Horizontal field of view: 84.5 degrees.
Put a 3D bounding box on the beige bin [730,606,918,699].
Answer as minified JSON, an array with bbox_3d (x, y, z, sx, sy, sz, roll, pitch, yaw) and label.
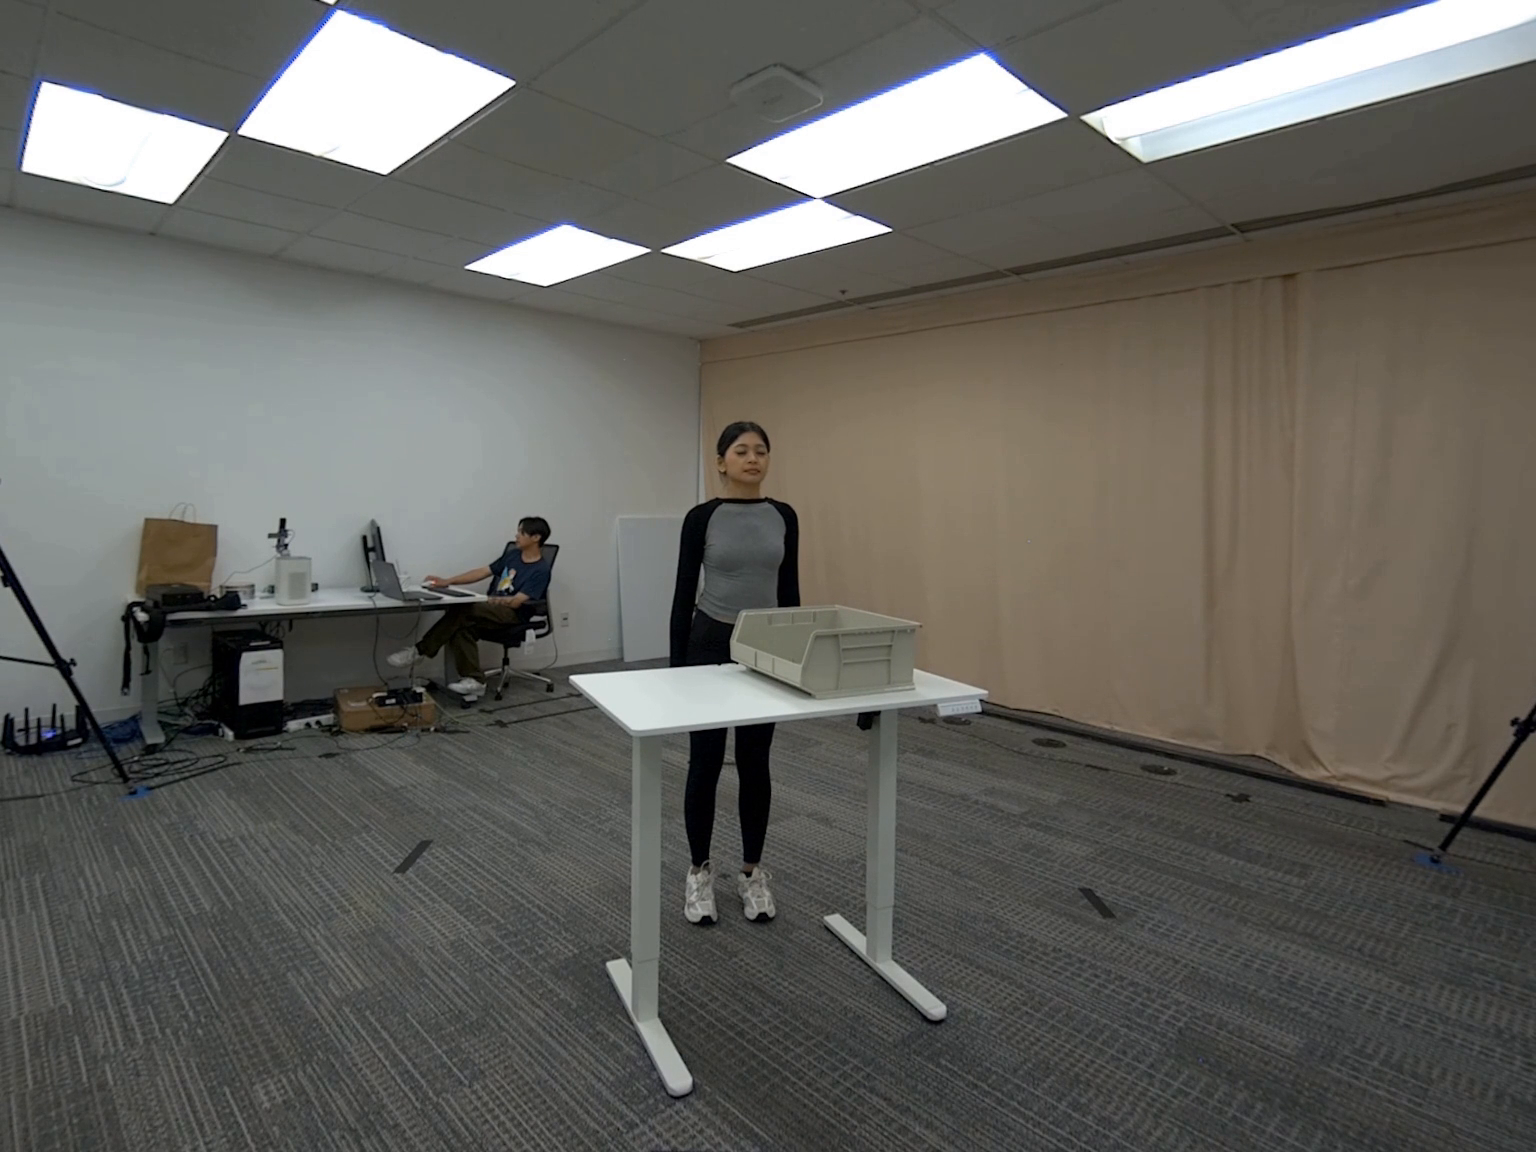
[{"bbox_3d":[0.148,0.212,2.378,0.370,0.188,0.431,-1,5,-27],"label":"beige bin"}]
